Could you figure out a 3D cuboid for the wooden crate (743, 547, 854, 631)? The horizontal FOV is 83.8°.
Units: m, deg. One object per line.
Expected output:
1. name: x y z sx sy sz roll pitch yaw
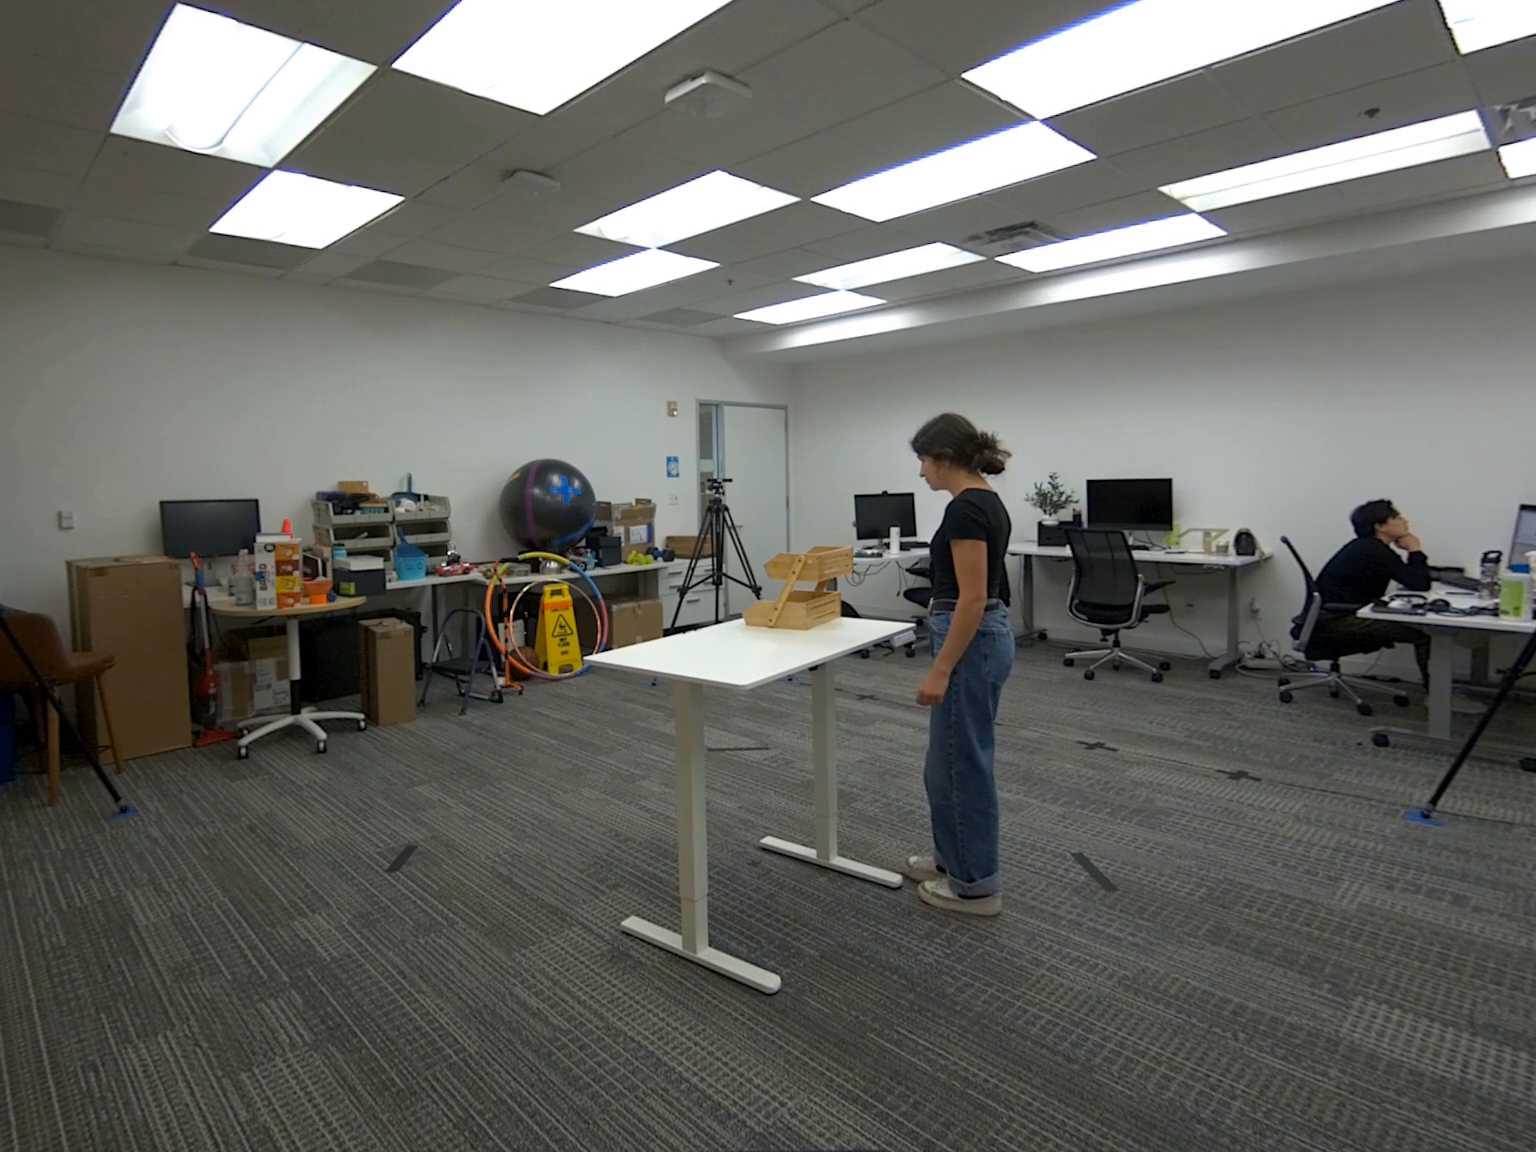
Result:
1. wooden crate: 0.110 0.031 3.046 0.310 0.272 0.318 3 7 29
